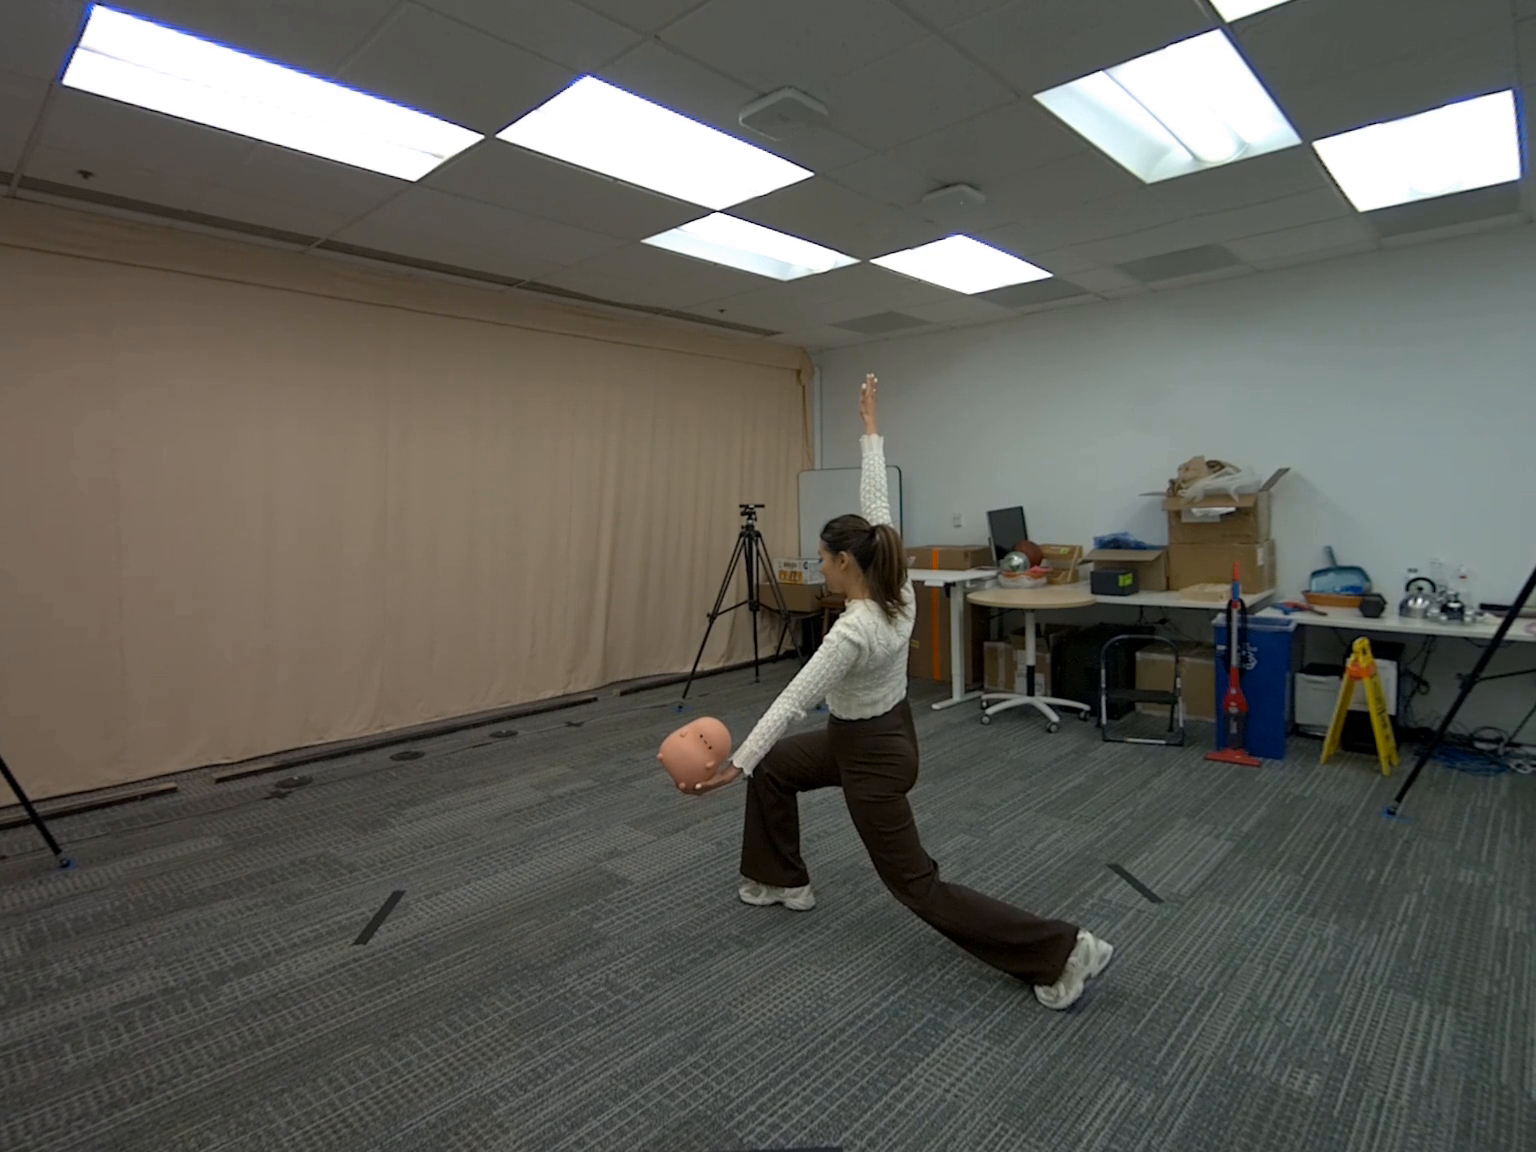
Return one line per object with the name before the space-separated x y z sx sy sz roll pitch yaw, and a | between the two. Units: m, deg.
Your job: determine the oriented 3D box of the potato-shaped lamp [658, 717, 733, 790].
potato-shaped lamp | -0.192 0.494 2.380 0.198 0.167 0.169 -42 -12 -2
